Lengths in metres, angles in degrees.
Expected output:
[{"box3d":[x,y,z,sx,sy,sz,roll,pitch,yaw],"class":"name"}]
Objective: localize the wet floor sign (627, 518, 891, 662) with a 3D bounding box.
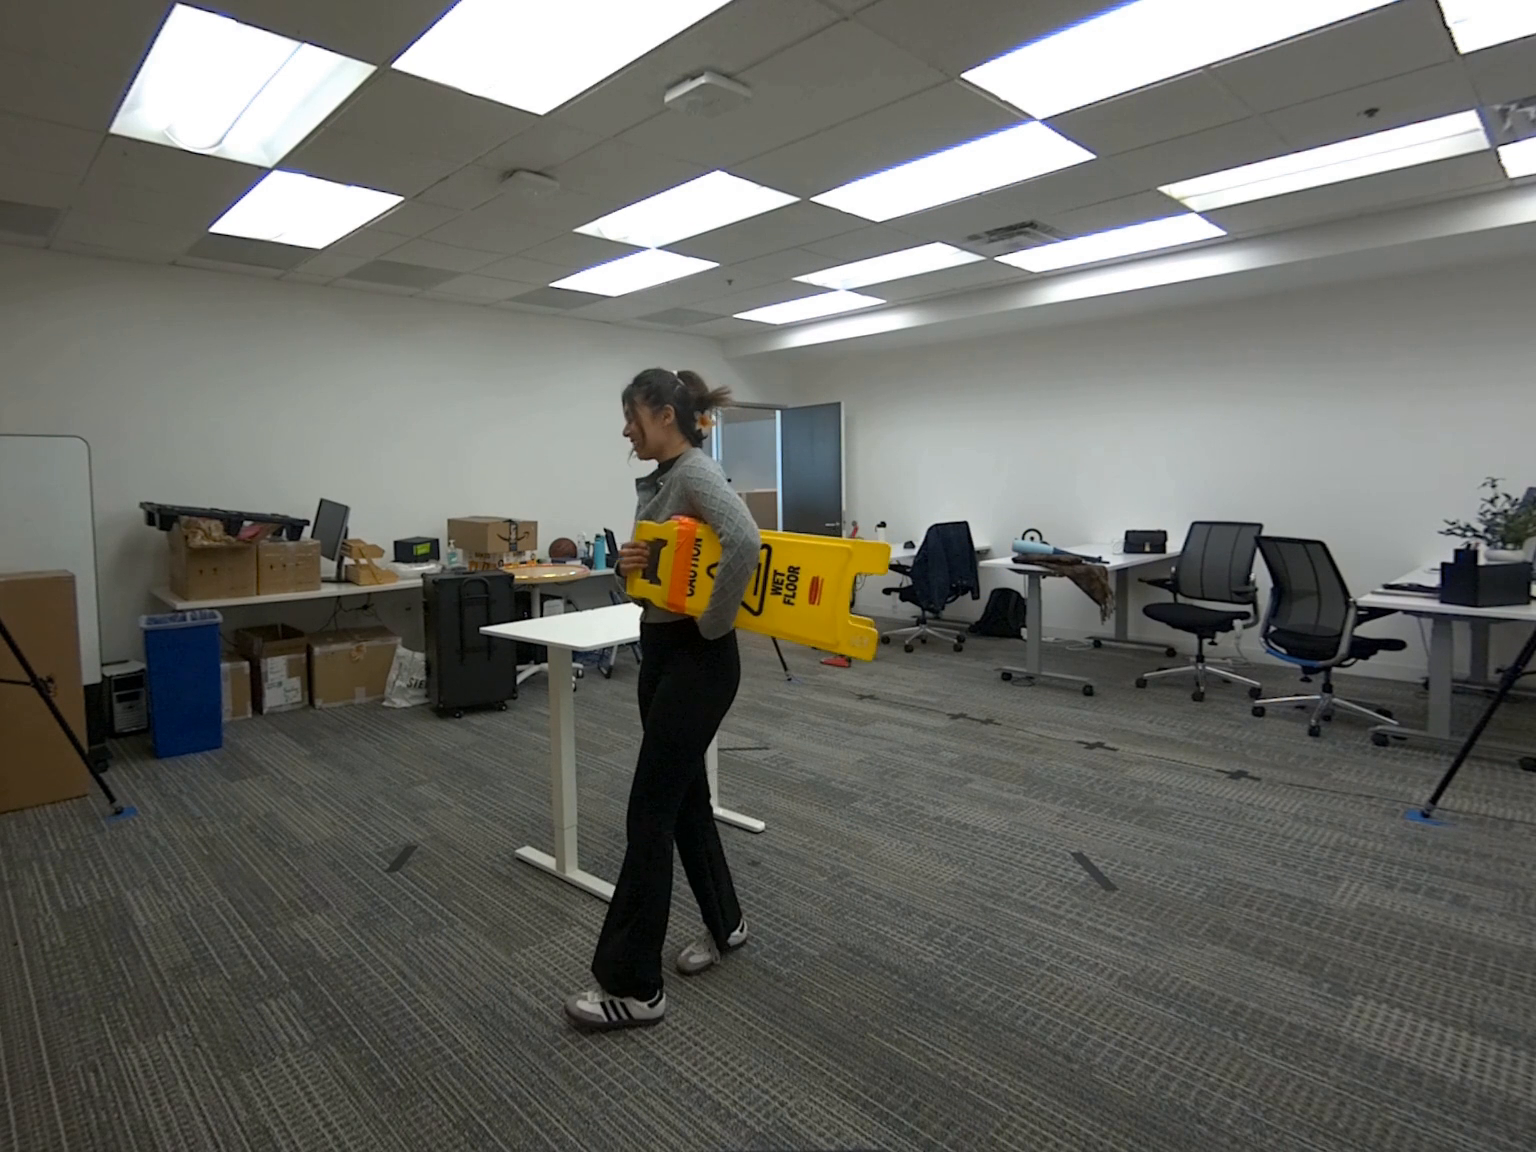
[{"box3d":[-0.038,0.008,2.162,0.652,0.282,0.288,9,3,7],"class":"wet floor sign"}]
